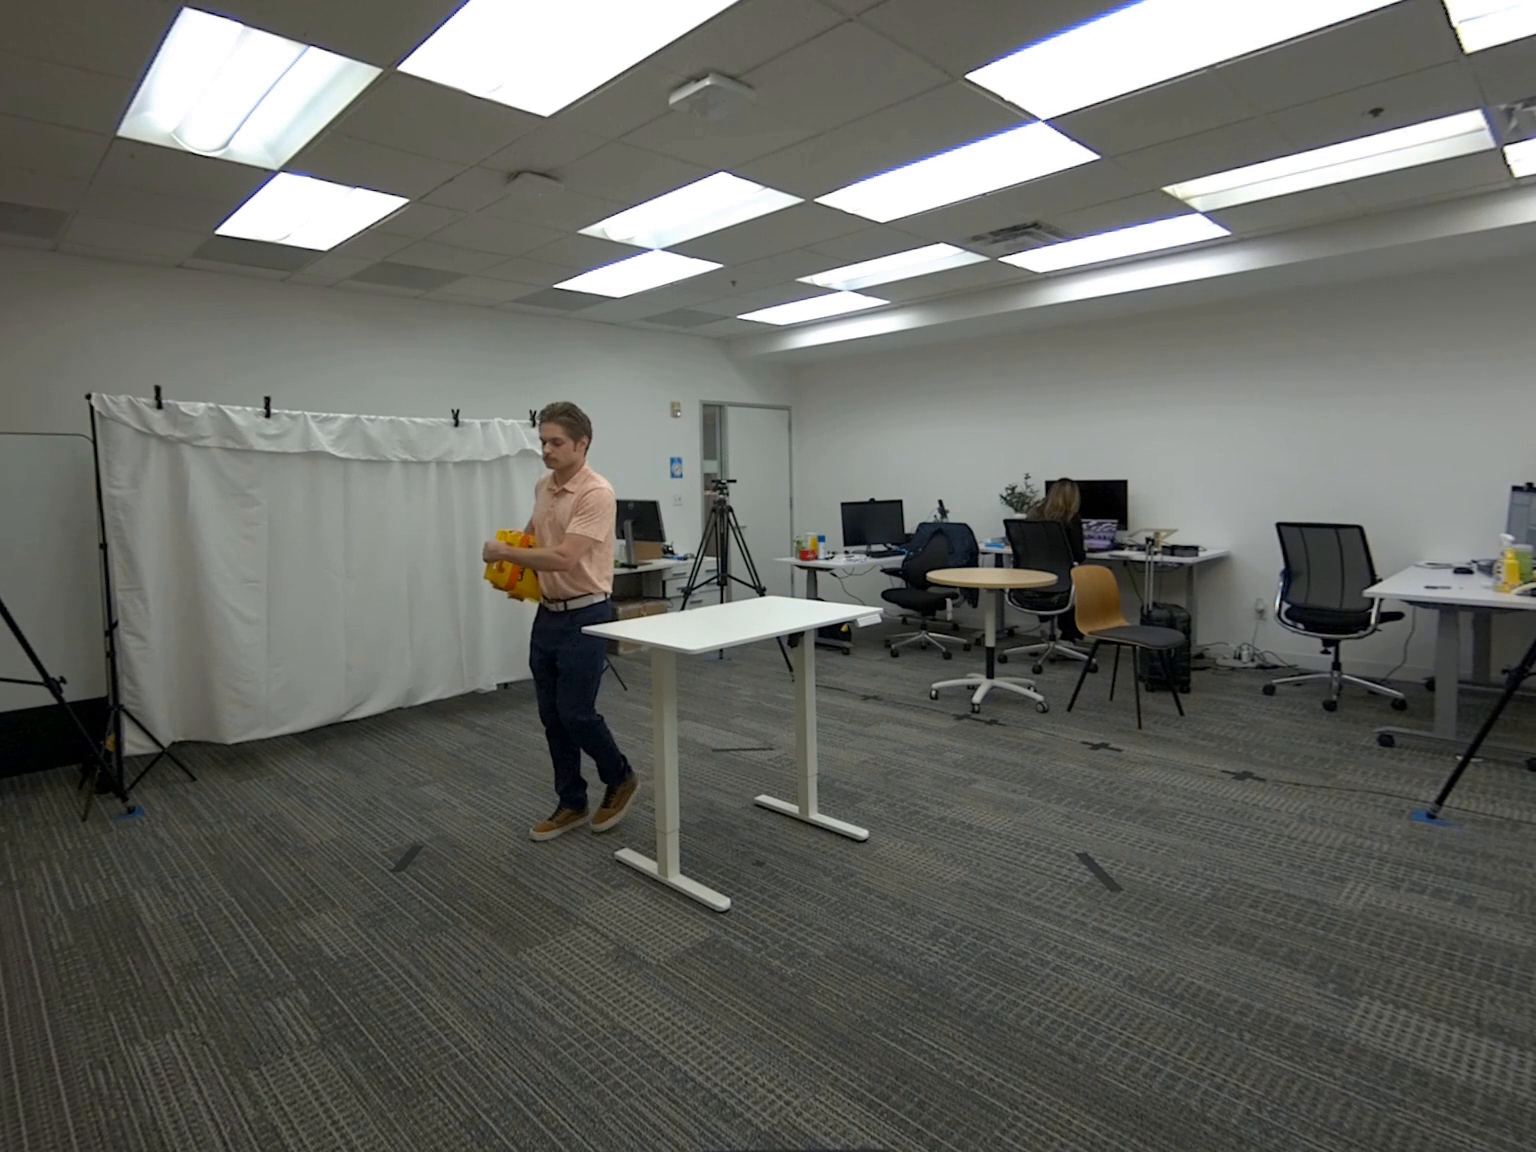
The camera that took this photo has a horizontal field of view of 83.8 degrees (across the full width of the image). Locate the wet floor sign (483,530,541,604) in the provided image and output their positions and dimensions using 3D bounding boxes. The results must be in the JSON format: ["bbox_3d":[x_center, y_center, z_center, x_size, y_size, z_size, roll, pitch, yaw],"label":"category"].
[{"bbox_3d":[-0.975,-0.023,3.533,0.296,0.283,0.630,12,-7,17],"label":"wet floor sign"}]
